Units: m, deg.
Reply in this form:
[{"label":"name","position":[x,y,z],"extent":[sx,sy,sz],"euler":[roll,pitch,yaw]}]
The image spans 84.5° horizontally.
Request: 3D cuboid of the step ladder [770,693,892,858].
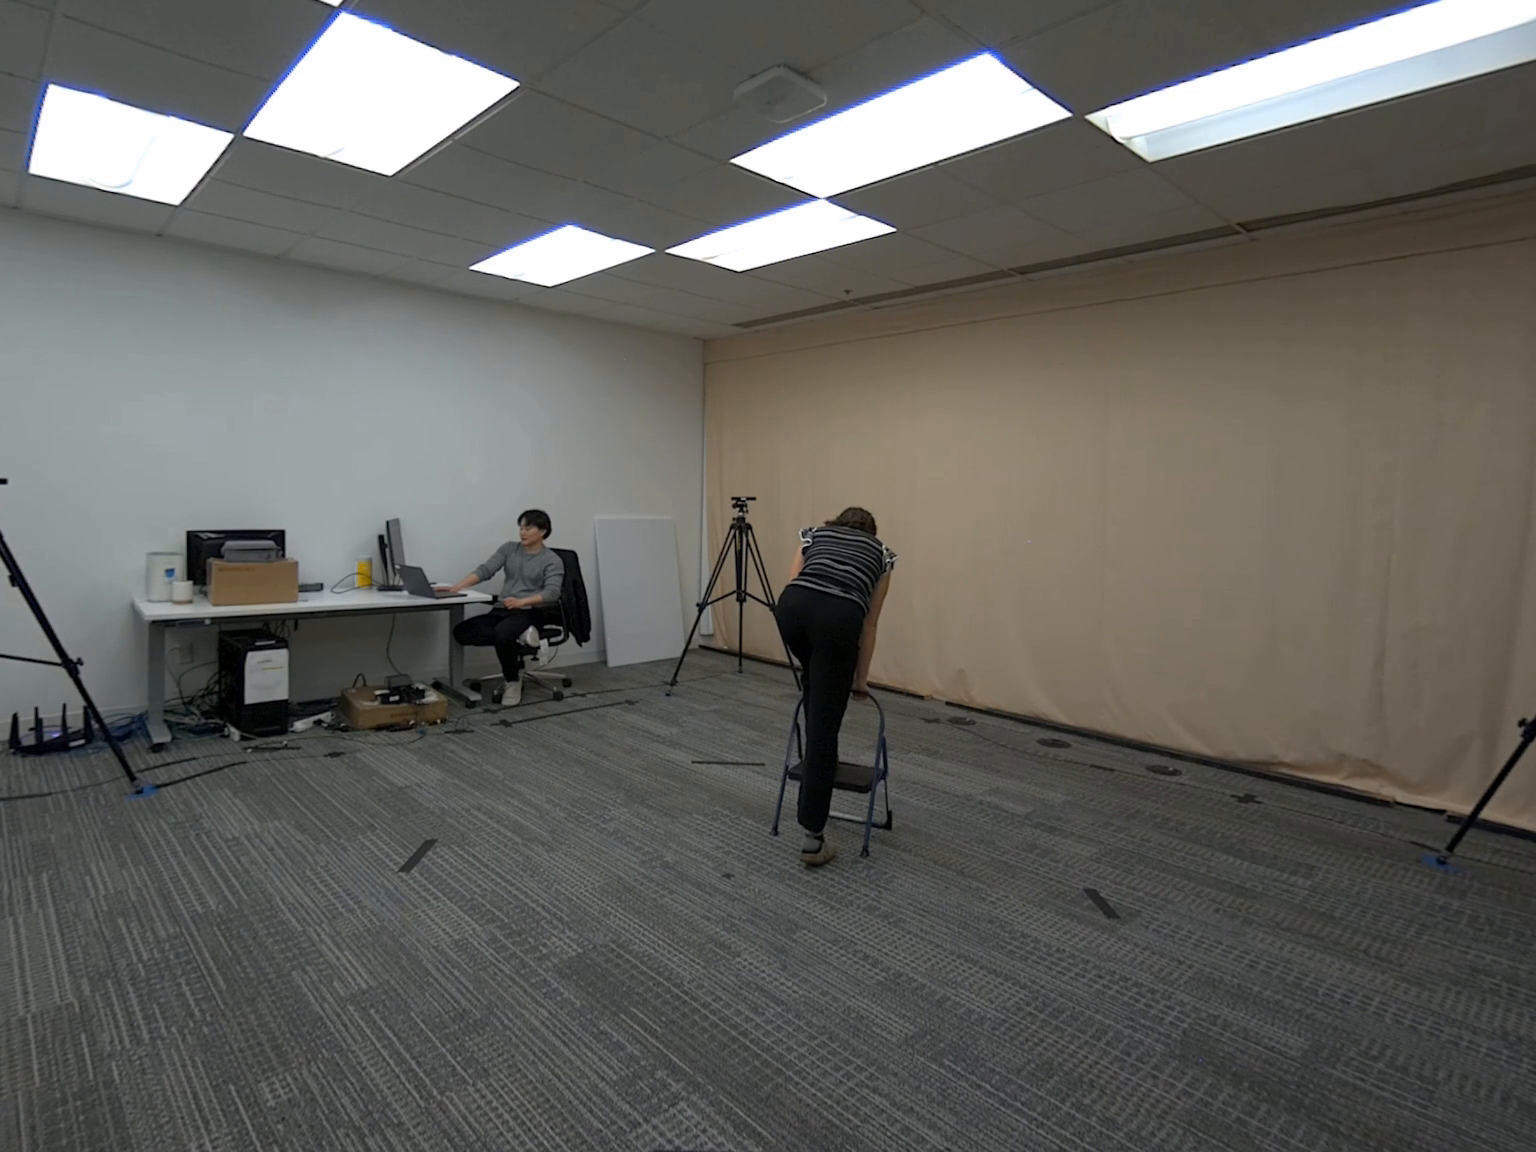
[{"label":"step ladder","position":[0.276,0.779,3.536],"extent":[0.439,0.605,0.343],"euler":[3,3,27]}]
